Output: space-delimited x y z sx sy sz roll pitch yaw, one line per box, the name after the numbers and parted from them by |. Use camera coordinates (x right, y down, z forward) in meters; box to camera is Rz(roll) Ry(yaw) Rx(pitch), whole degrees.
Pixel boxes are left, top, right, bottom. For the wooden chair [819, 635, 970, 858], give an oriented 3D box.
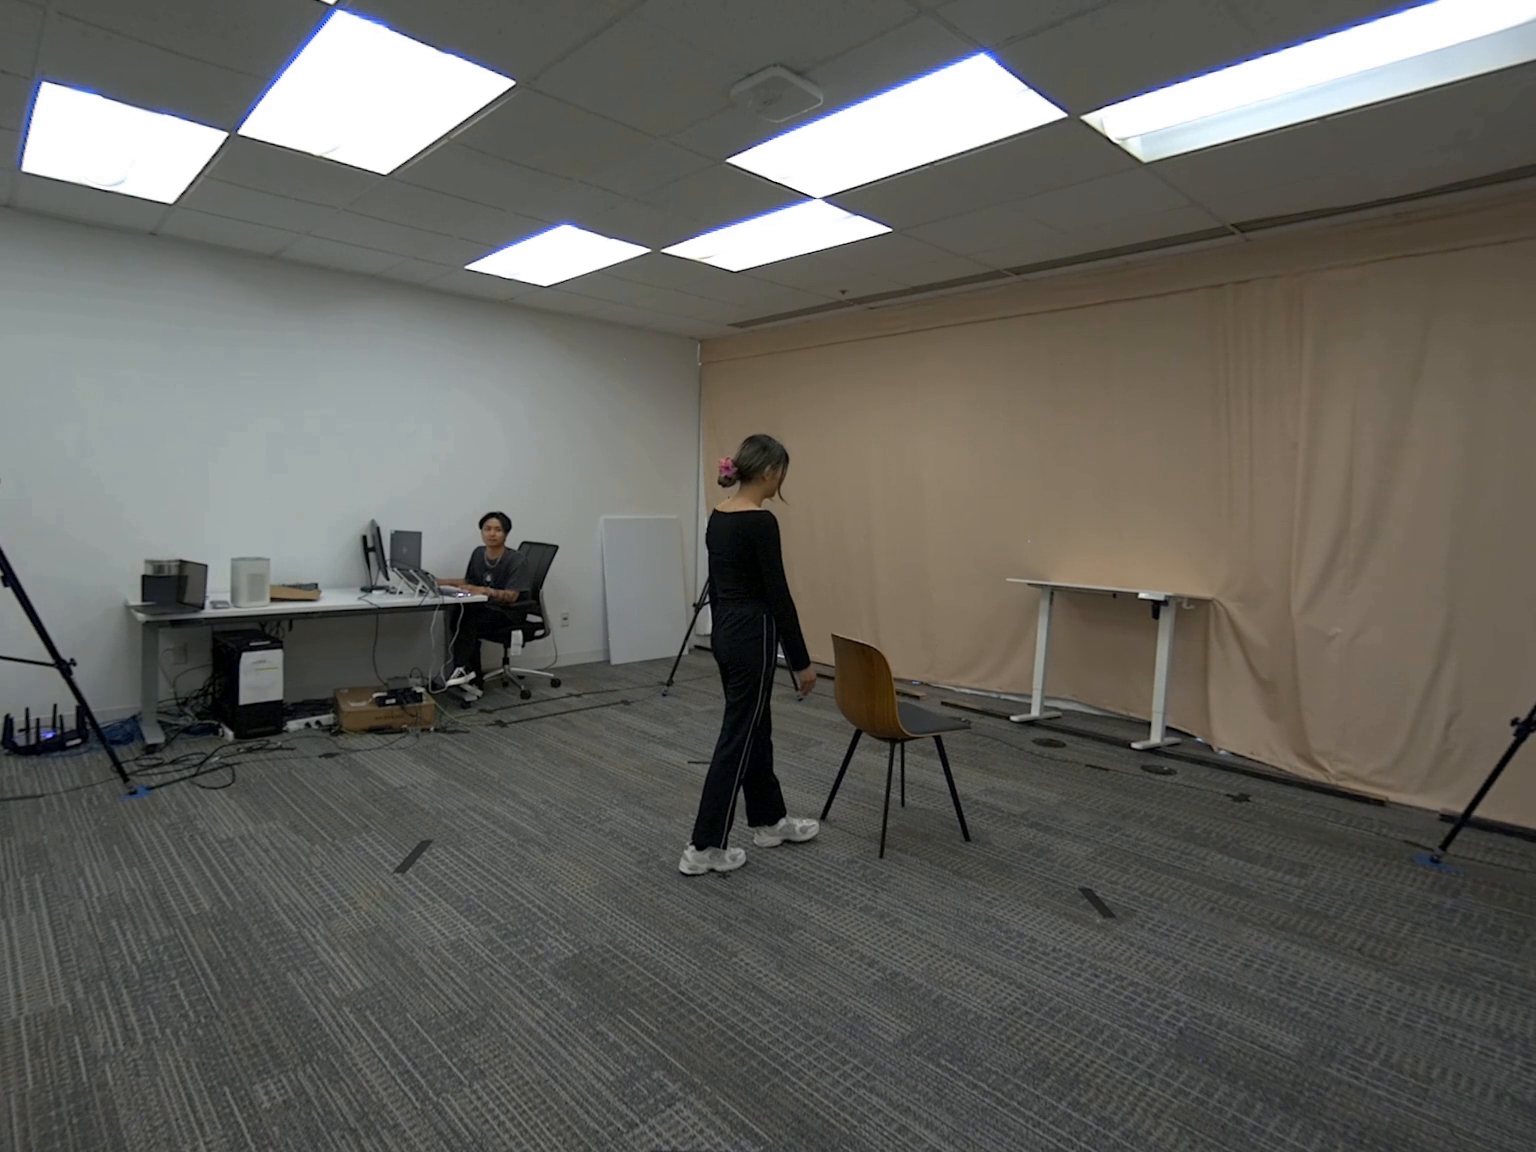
0.541 0.655 3.564 0.514 0.874 0.488 -5 5 -27 | wooden chair
